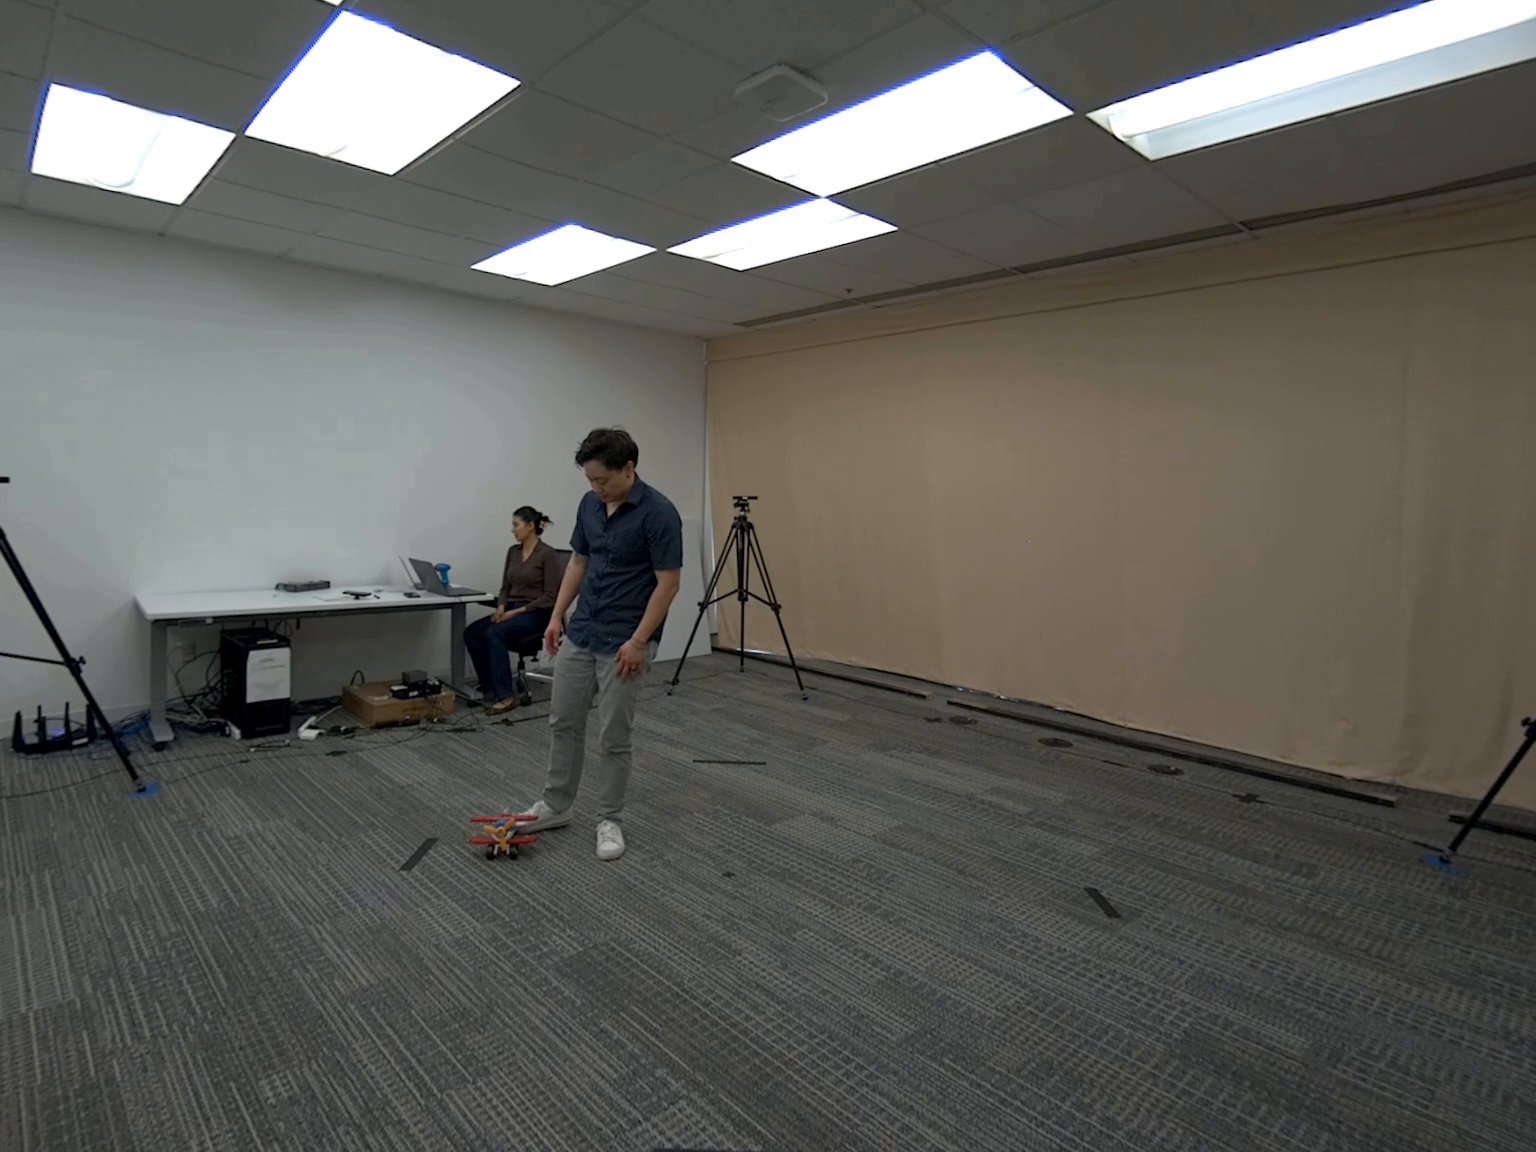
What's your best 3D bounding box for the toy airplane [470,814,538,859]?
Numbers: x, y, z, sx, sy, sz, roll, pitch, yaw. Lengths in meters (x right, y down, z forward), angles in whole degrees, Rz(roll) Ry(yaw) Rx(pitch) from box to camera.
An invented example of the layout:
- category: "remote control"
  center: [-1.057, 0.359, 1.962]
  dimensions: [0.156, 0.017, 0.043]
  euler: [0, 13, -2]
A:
- category: "toy airplane"
  center: [-1.047, 0.995, 3.271]
  dimensions: [0.246, 0.156, 0.266]
  euler: [-3, 7, -35]
